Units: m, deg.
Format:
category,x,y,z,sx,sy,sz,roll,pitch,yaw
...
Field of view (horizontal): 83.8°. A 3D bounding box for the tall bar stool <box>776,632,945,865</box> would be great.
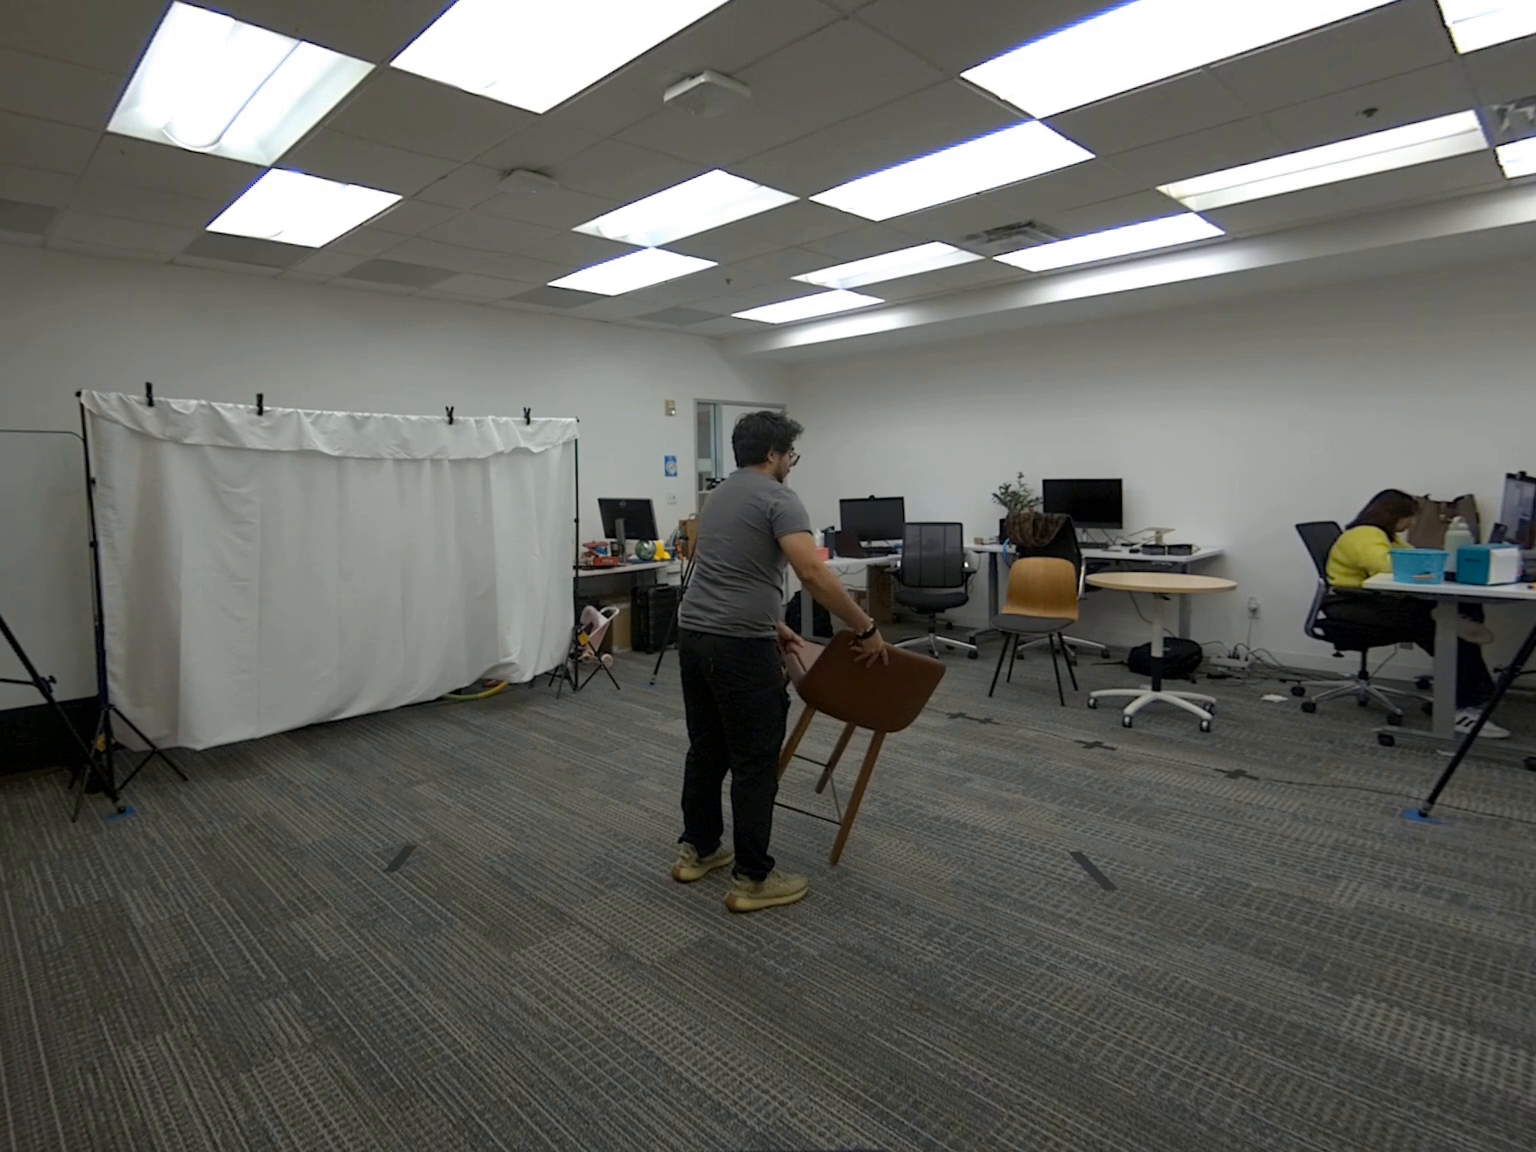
category,x,y,z,sx,sy,sz,roll,pitch,yaw
tall bar stool,0.231,0.526,3.134,0.450,0.883,0.478,21,19,-12
